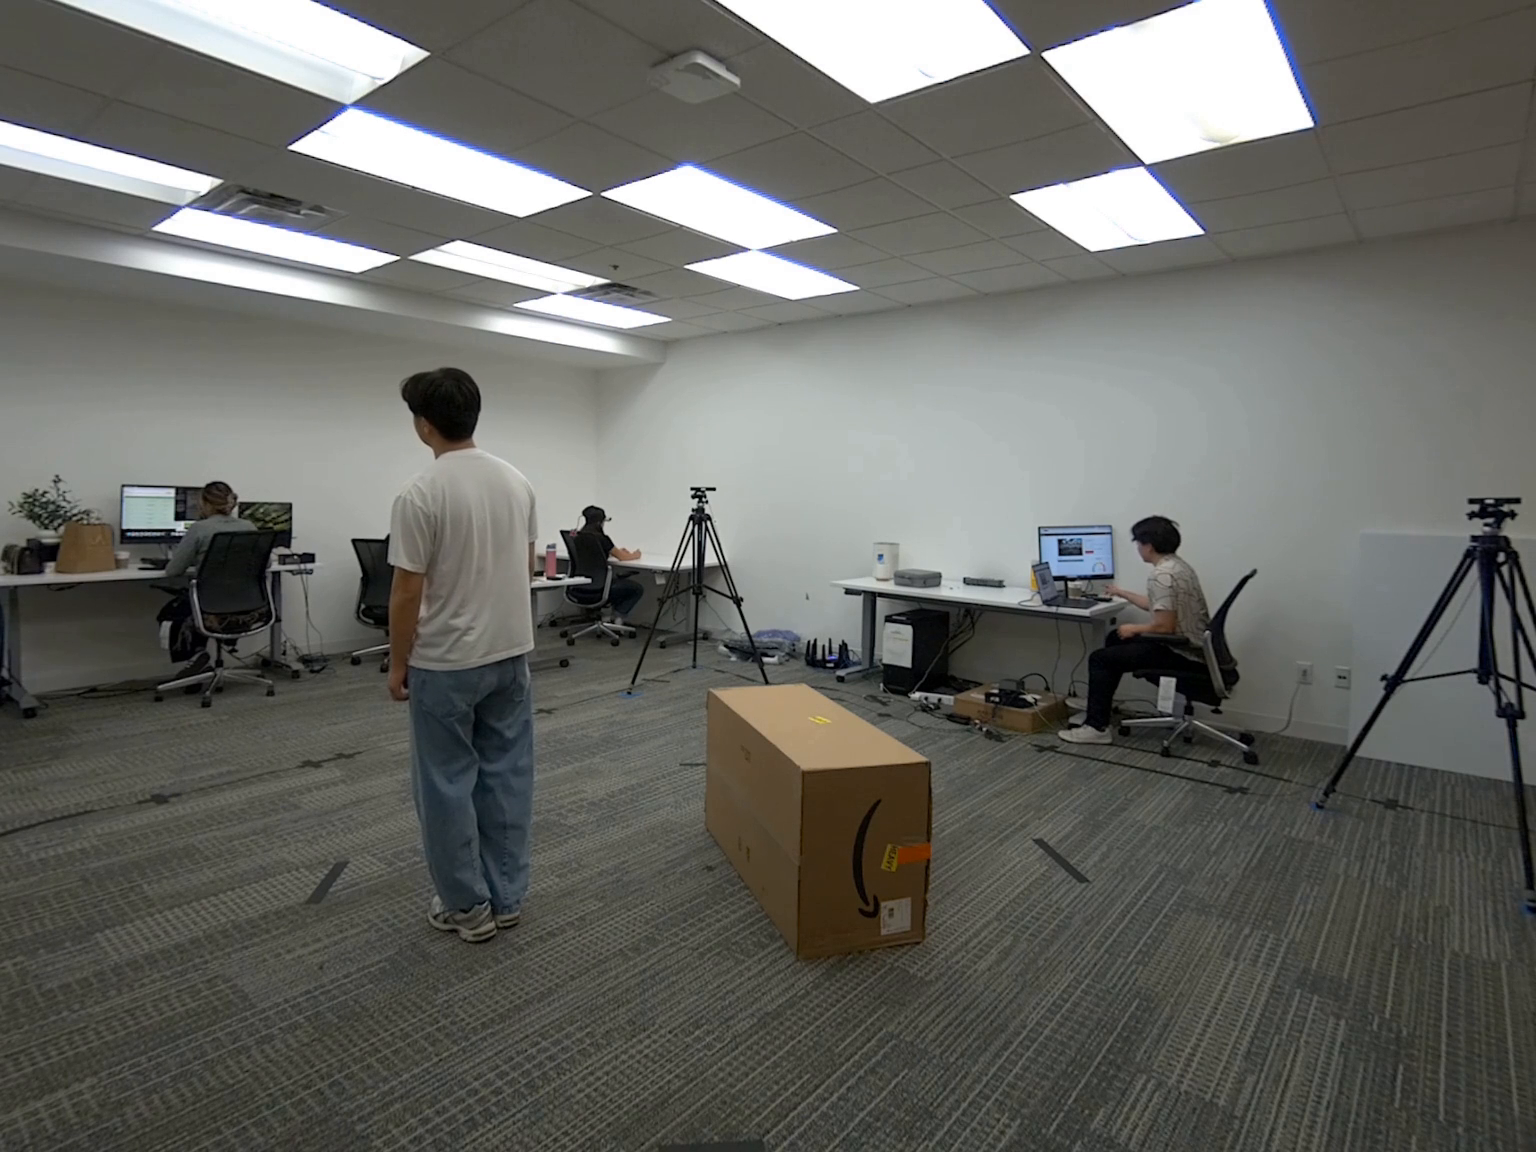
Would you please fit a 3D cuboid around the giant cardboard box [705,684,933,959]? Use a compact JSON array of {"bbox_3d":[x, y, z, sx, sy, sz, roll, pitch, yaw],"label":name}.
[{"bbox_3d":[0.115,0.789,3.040,0.418,0.575,1.050,-1,6,-19],"label":"giant cardboard box"}]
